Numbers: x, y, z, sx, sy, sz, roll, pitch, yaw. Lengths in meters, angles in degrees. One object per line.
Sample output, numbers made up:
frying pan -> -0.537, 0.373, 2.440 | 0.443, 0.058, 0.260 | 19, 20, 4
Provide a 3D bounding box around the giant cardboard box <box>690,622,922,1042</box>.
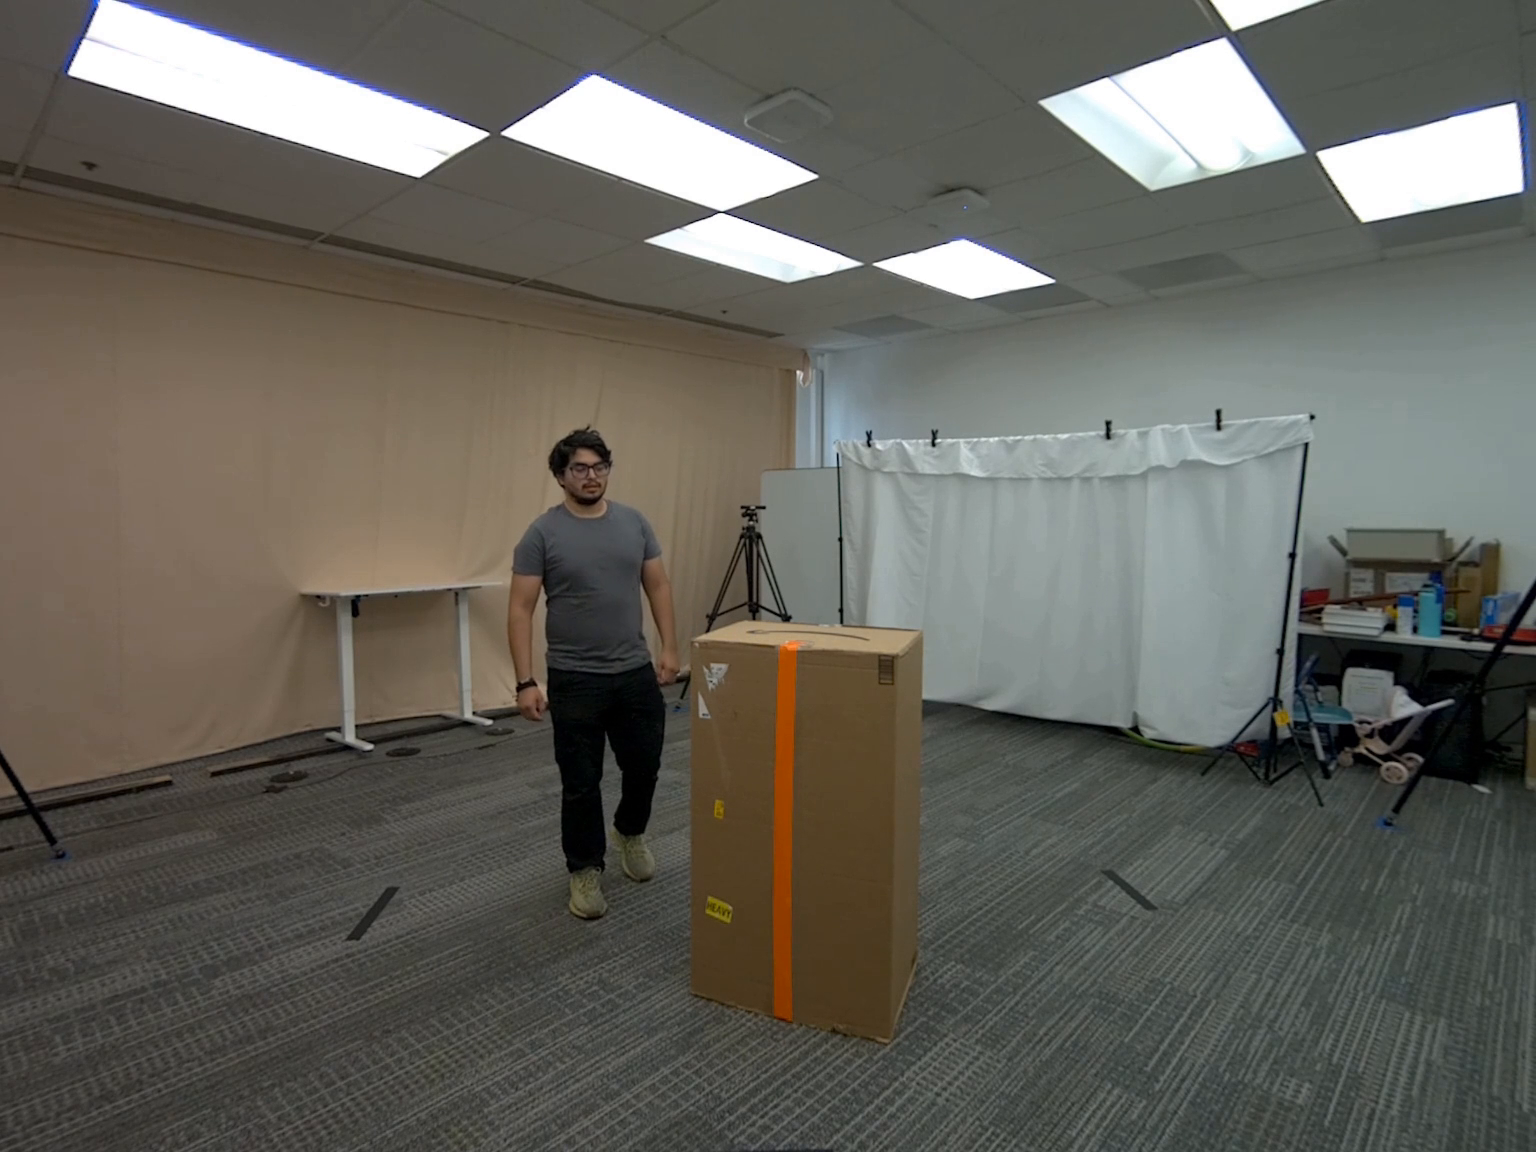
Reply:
giant cardboard box -> 0.125, 0.680, 2.446 | 0.591, 1.024, 0.417 | 2, 3, 23
